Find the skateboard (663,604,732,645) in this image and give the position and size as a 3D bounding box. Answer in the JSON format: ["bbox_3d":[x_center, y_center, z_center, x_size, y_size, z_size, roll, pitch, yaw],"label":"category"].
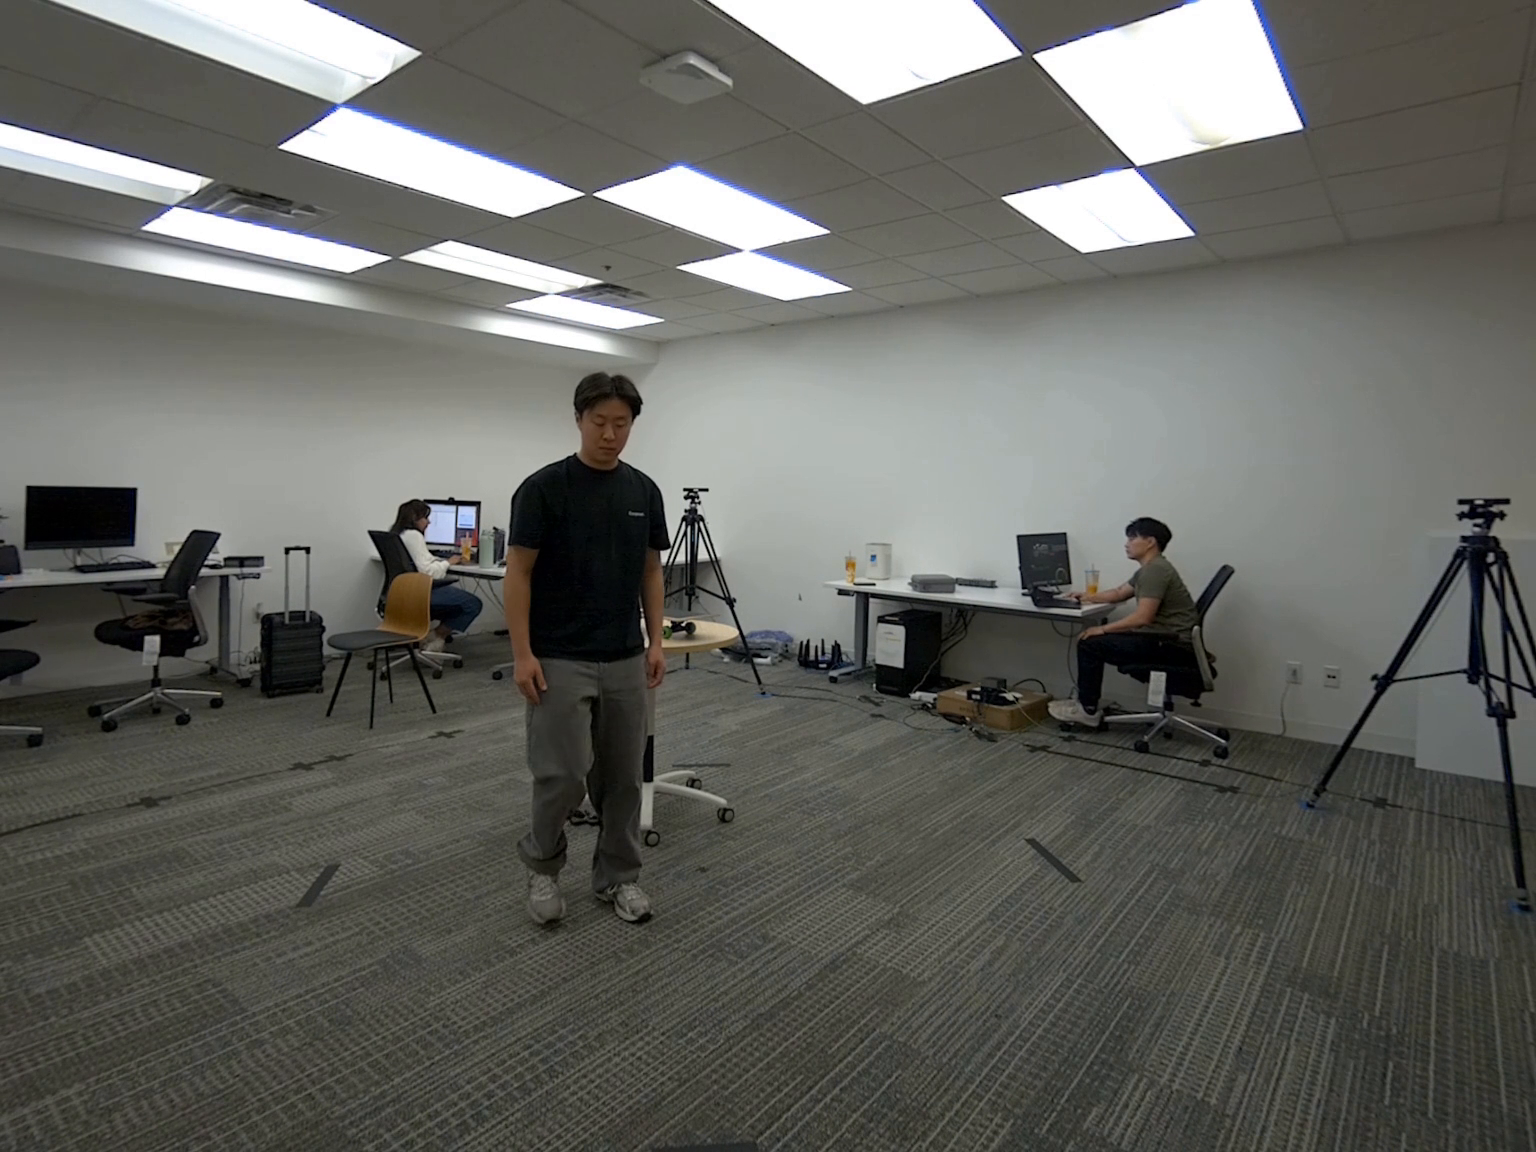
[{"bbox_3d":[-0.534,0.181,3.614,0.811,0.110,0.188,4,5,36],"label":"skateboard"}]
